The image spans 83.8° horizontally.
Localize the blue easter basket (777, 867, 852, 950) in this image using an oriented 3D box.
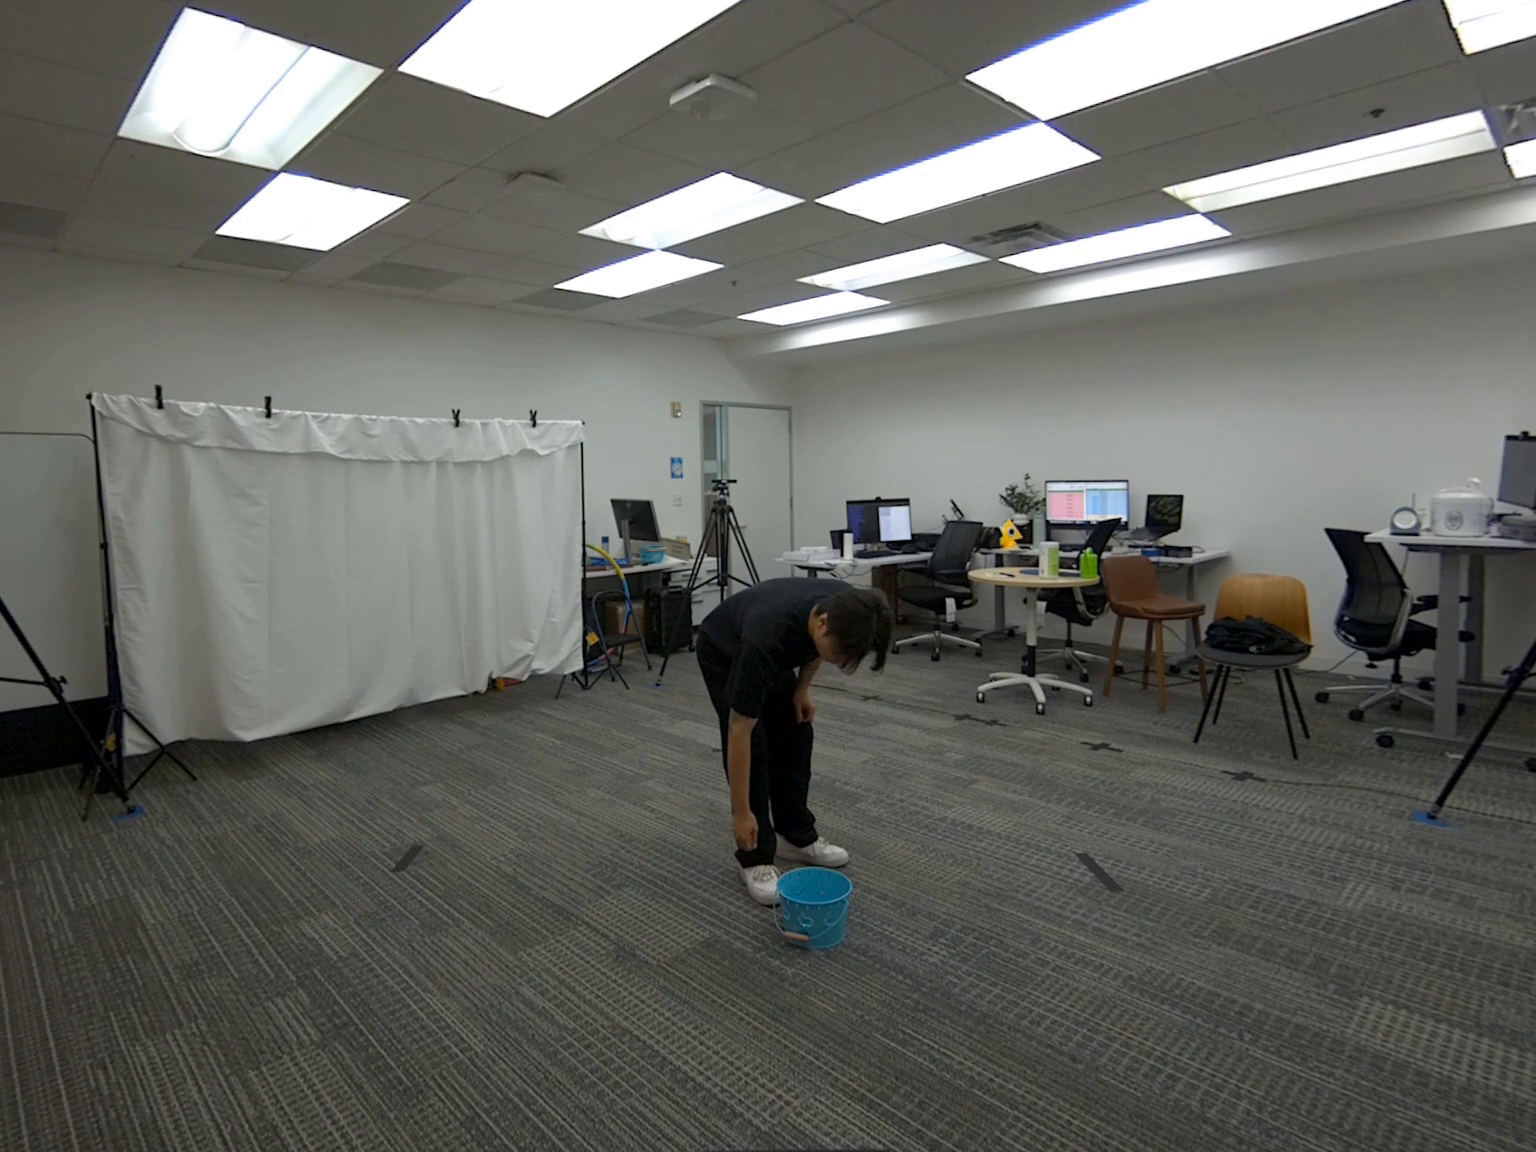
[{"bbox_3d":[0.137,1.023,2.625,0.243,0.155,0.245,-2,6,-1],"label":"blue easter basket"}]
